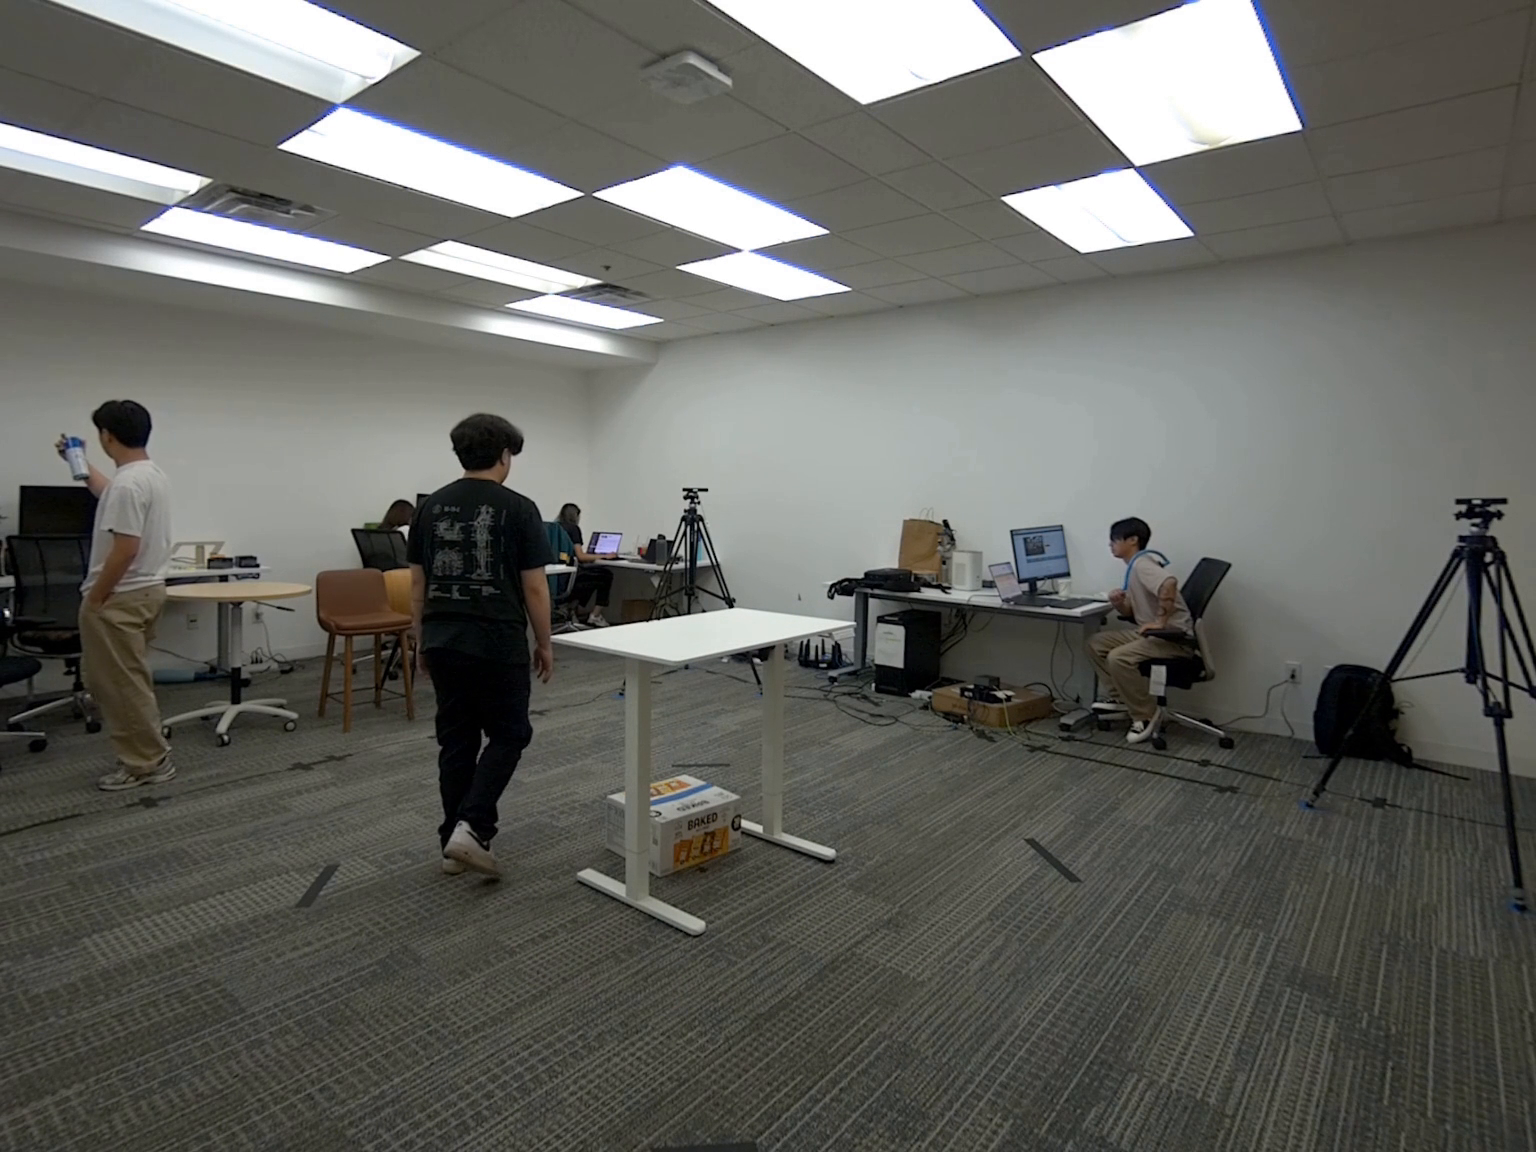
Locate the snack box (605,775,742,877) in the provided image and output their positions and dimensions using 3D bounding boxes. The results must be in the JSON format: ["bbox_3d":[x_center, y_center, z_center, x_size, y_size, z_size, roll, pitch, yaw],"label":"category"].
[{"bbox_3d":[-0.373,0.954,3.277,0.393,0.205,0.352,-4,7,-44],"label":"snack box"}]
